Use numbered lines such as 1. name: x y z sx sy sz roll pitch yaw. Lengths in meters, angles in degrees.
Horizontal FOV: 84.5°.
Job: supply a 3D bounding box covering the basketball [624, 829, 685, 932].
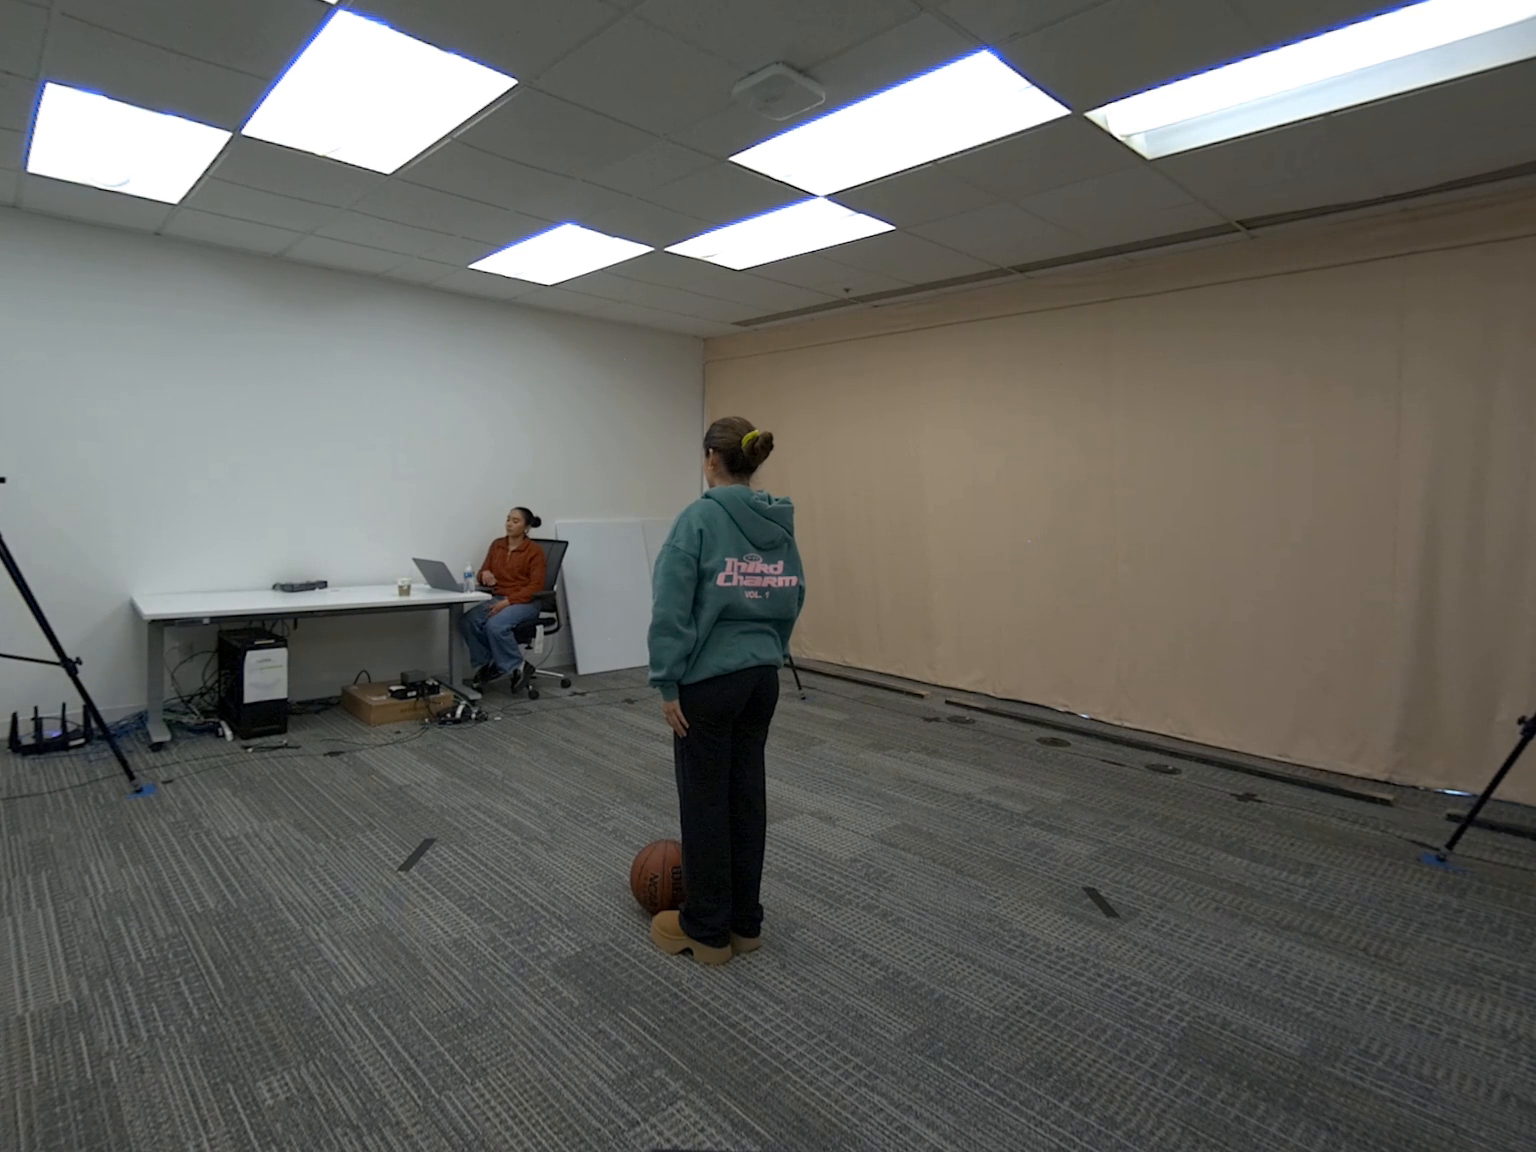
1. basketball: -0.346 1.008 2.816 0.236 0.235 0.237 1 4 -1
